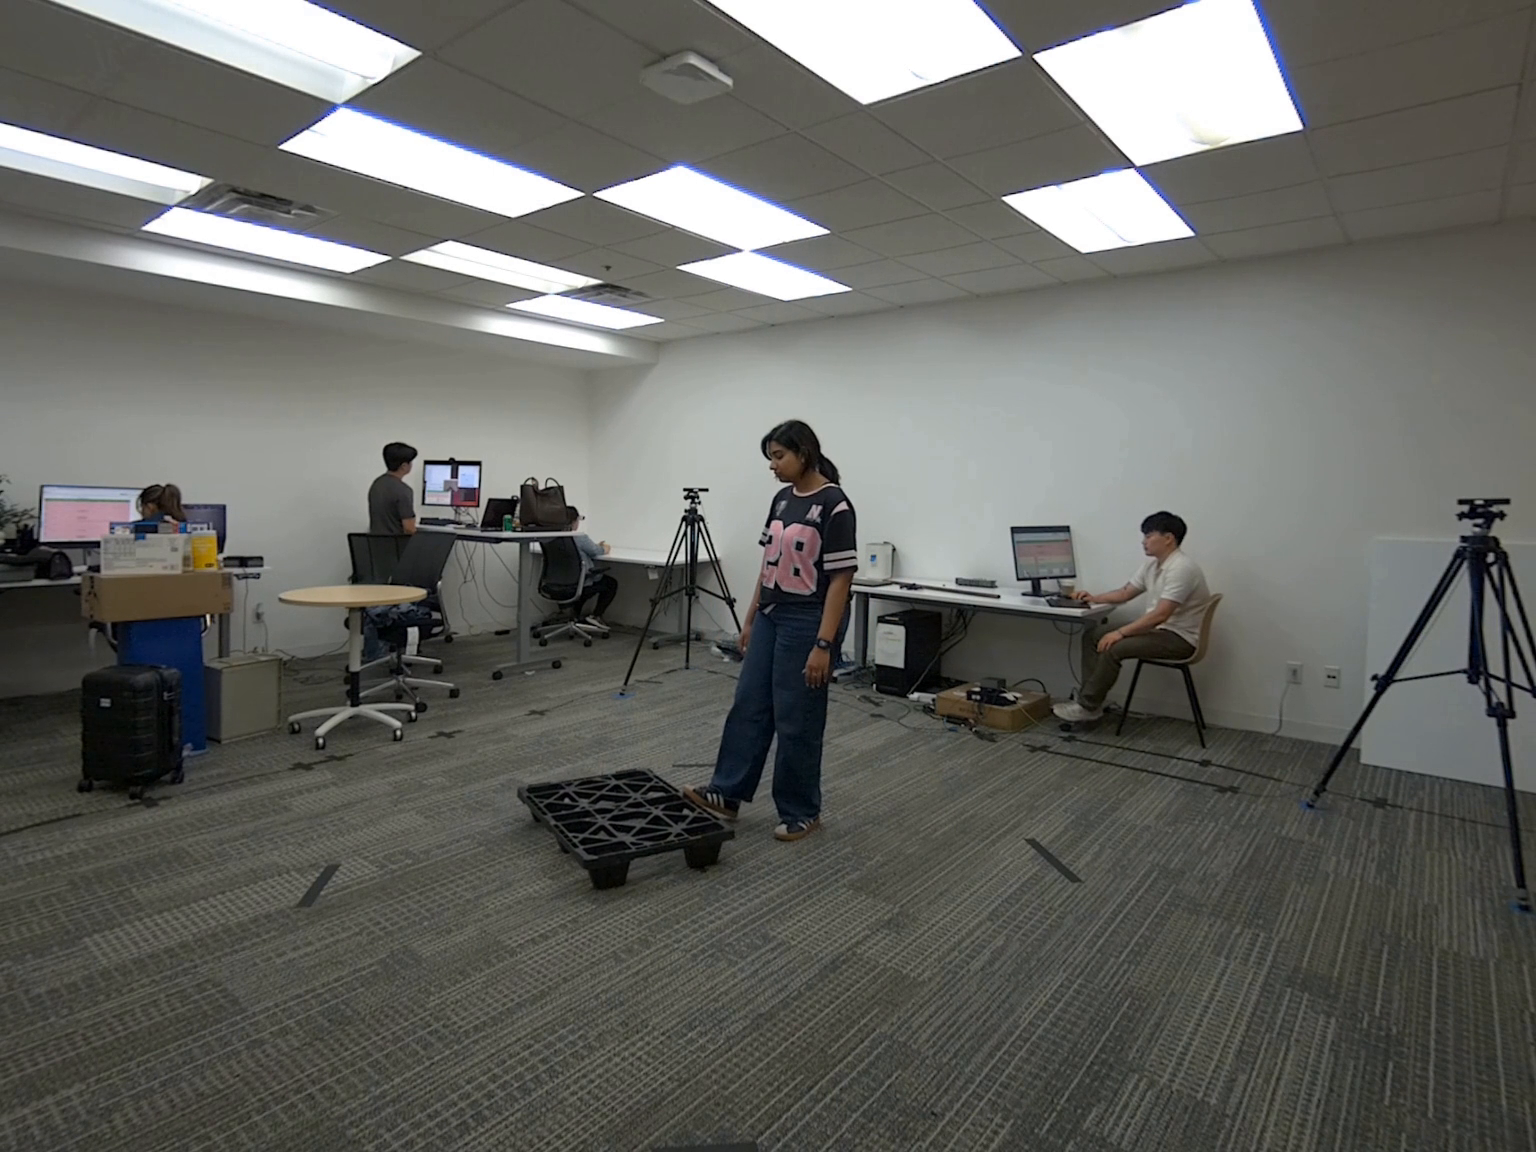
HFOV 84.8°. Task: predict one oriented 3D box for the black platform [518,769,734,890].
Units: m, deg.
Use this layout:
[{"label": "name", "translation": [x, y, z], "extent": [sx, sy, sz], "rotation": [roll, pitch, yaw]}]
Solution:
[{"label": "black platform", "translation": [-0.604, 0.973, 3.340], "extent": [0.589, 0.143, 0.830], "rotation": [-3, 6, -31]}]
